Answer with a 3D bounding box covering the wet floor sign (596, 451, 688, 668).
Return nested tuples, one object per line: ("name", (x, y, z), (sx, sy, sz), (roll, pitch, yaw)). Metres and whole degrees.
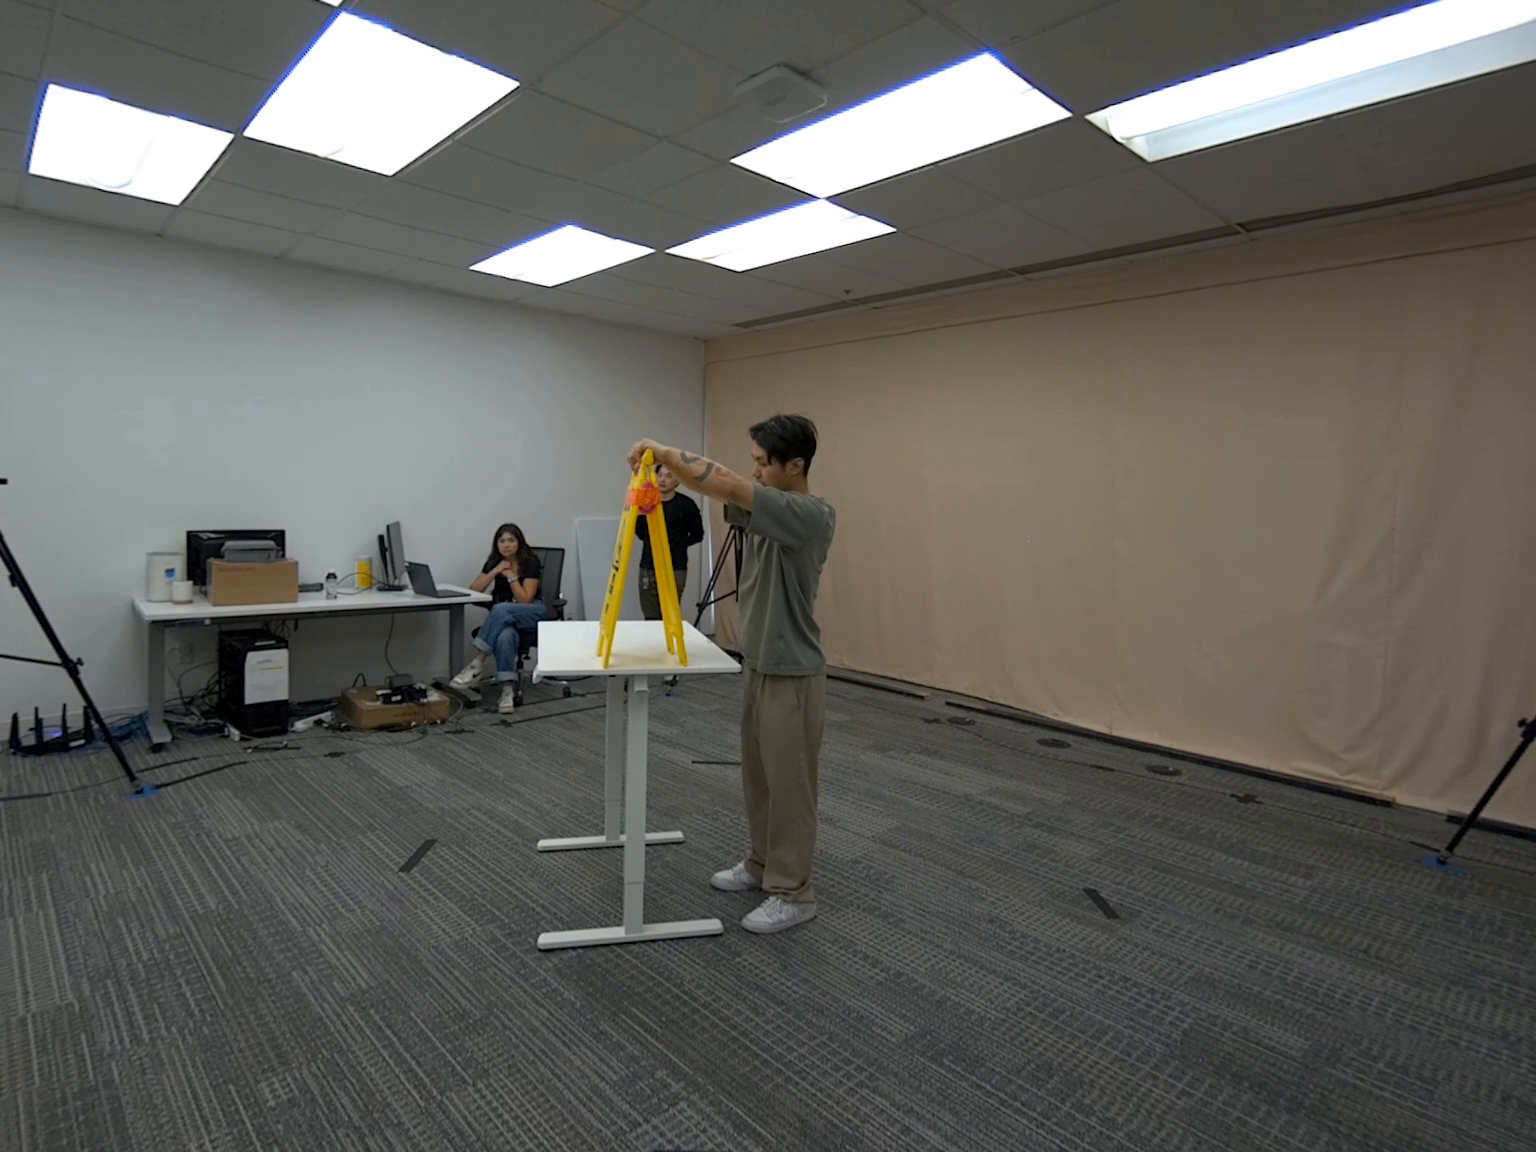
("wet floor sign", (-0.397, -0.061, 2.609), (0.286, 0.645, 0.286), (0, 1, -16))
